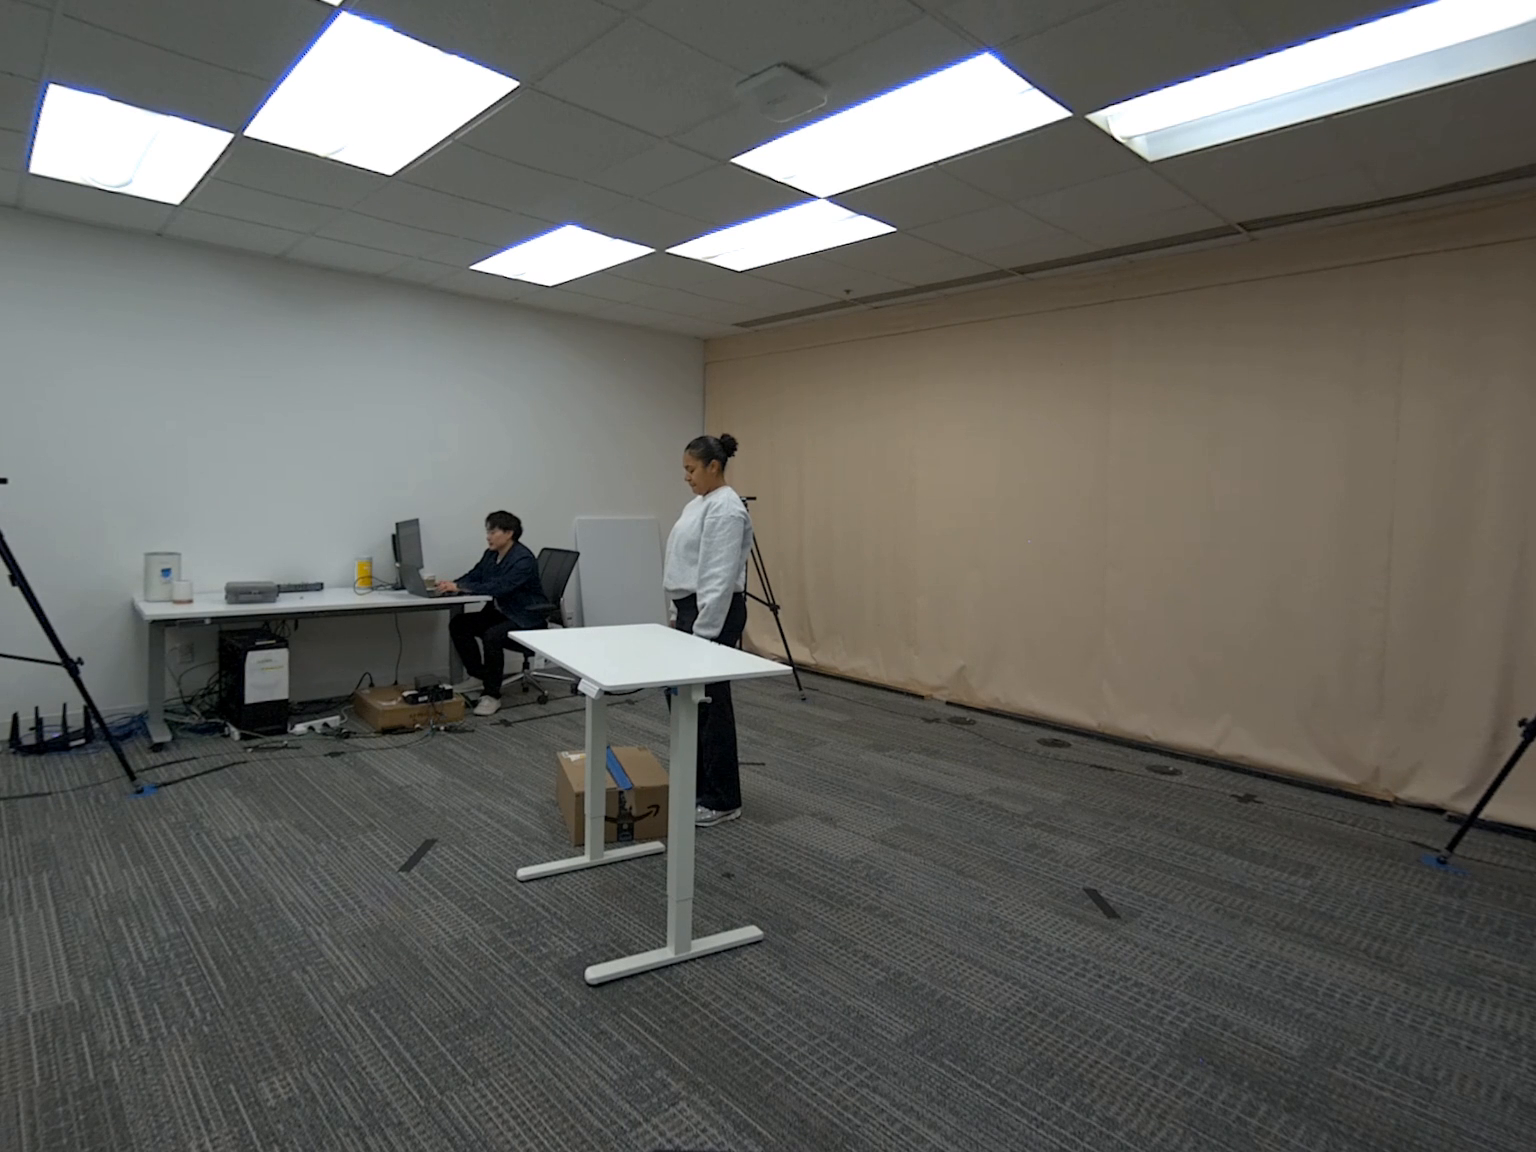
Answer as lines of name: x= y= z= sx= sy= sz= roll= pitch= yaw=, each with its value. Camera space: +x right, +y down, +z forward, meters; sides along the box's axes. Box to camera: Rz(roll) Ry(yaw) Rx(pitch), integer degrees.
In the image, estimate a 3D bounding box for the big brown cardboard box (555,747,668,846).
big brown cardboard box: x=-0.683 y=0.935 z=3.653 sx=0.411 sy=0.232 sz=0.600 roll=0 pitch=6 yaw=-21
